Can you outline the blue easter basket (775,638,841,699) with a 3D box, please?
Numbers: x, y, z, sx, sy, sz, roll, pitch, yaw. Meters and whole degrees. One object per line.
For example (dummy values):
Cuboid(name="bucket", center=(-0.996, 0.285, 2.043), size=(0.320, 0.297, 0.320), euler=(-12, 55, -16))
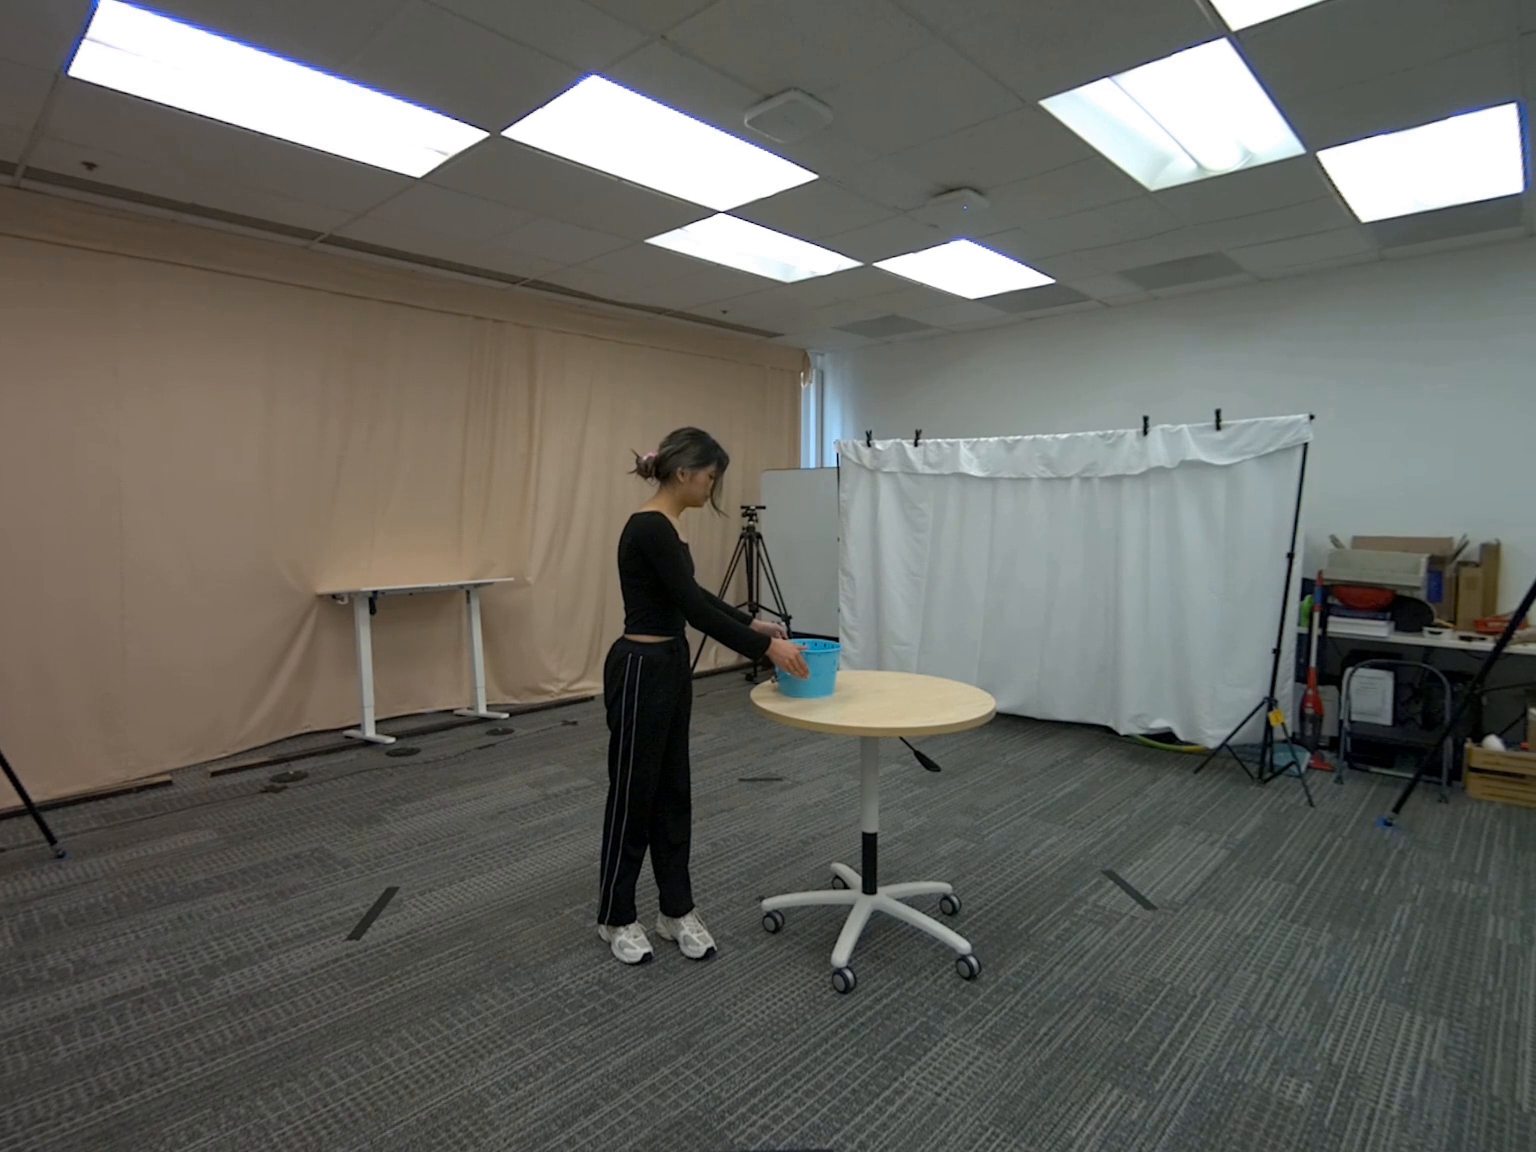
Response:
Cuboid(name="blue easter basket", center=(0.127, 0.303, 2.743), size=(0.243, 0.155, 0.244), euler=(1, 5, -2))
